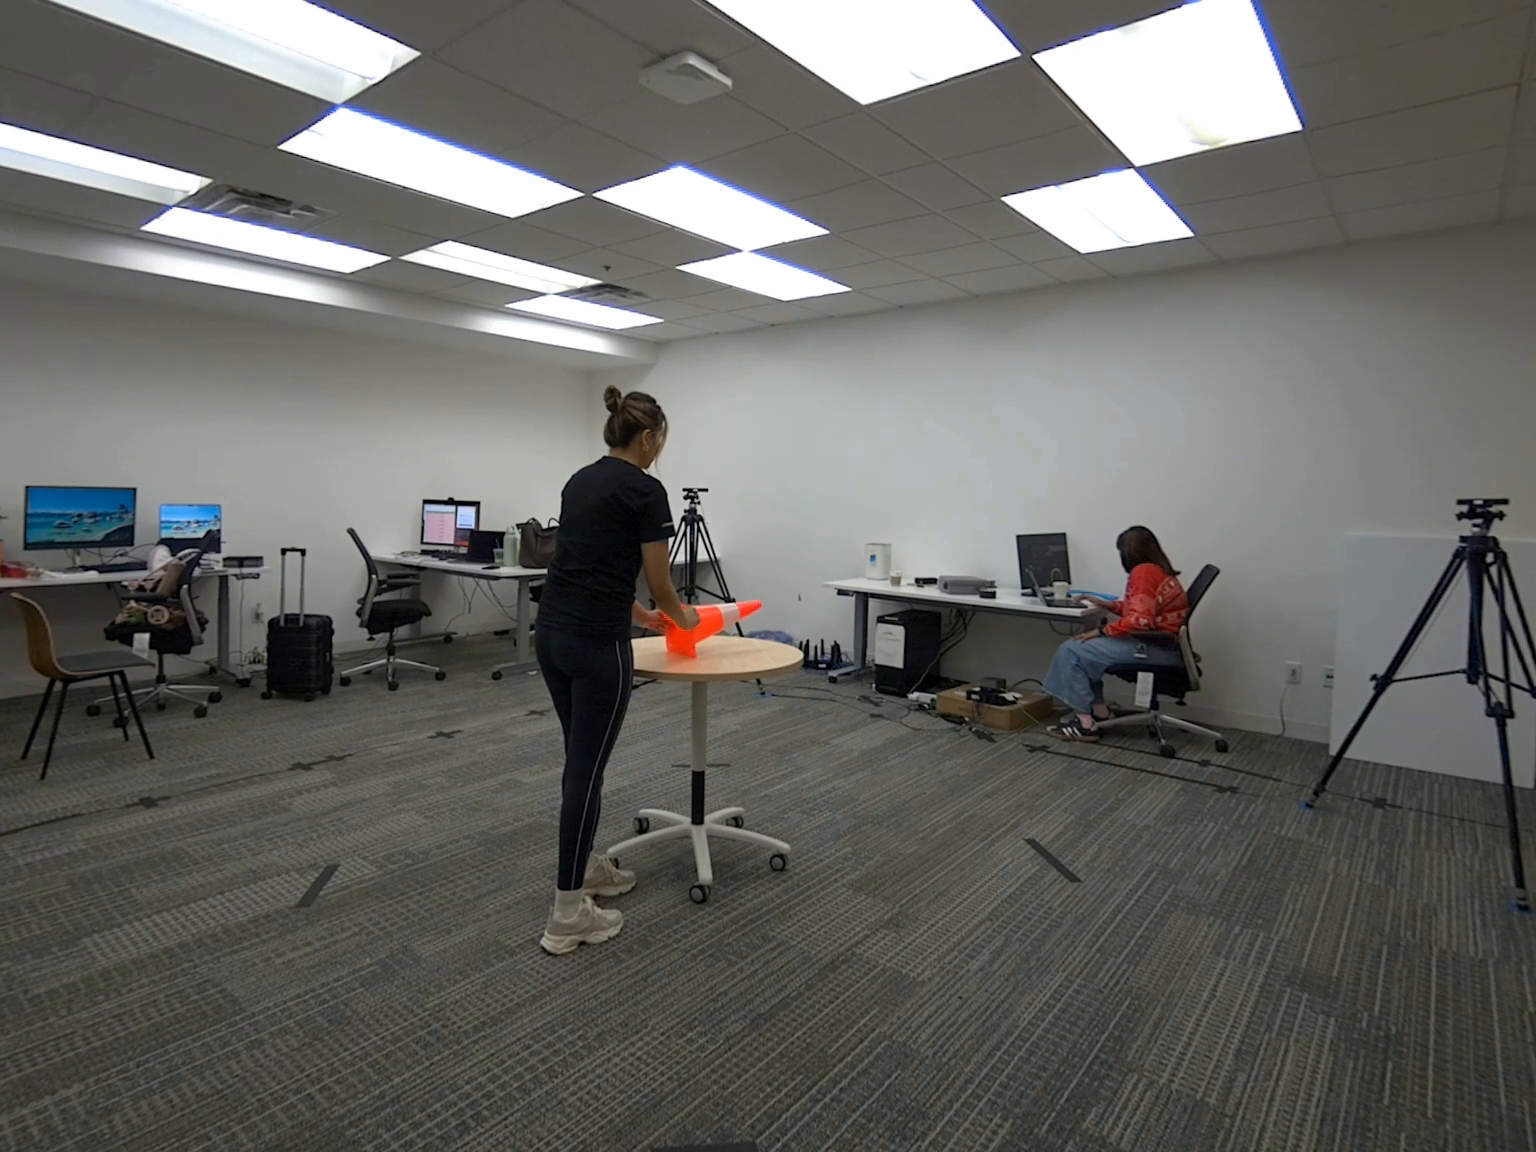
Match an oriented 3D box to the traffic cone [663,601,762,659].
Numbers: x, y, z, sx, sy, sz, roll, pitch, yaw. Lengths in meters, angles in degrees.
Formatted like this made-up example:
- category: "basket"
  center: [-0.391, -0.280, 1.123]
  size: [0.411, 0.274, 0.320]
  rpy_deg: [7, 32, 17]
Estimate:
- category: "traffic cone"
  center: [-0.195, 0.149, 3.190]
  size: [0.375, 0.203, 0.210]
  rpy_deg: [-15, 13, -34]
